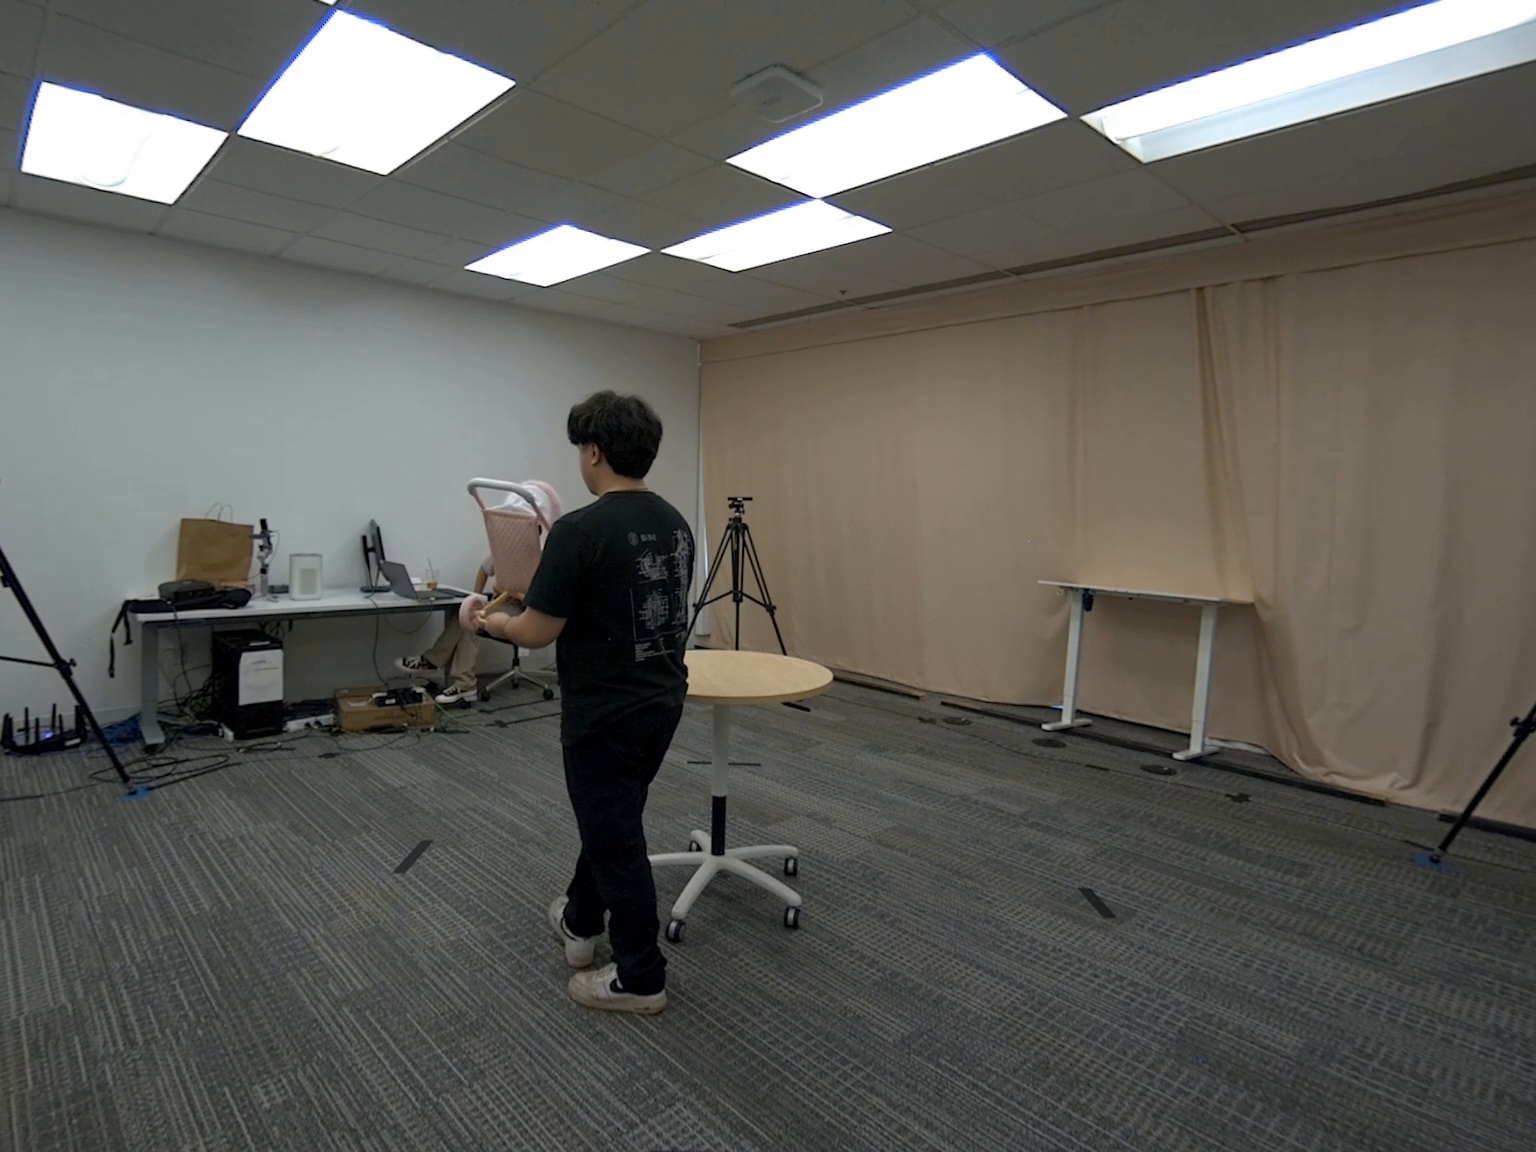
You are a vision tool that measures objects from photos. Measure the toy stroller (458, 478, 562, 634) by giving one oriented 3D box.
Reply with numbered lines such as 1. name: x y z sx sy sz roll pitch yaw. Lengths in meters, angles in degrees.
1. toy stroller: -0.718 -0.043 2.513 0.286 0.530 0.339 7 14 19
